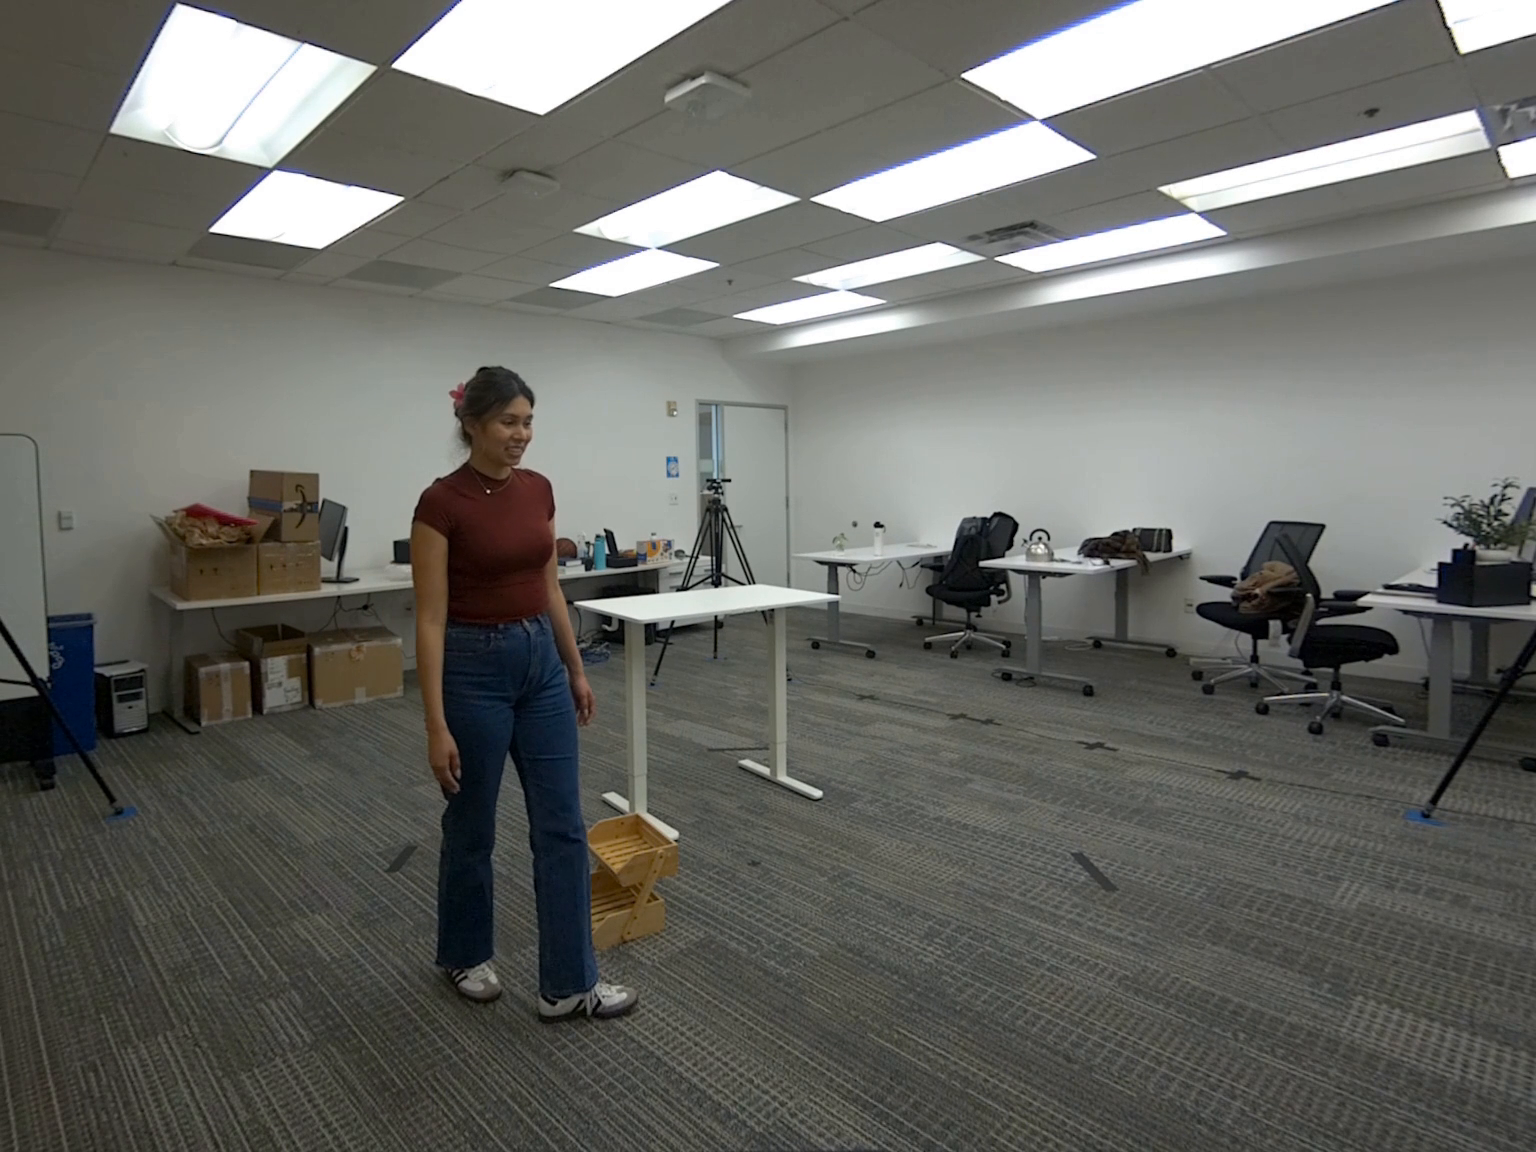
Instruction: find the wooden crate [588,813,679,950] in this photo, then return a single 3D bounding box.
[{"bbox_3d":[-0.485,0.963,2.734,0.295,0.272,0.334,-4,6,-32],"label":"wooden crate"}]
